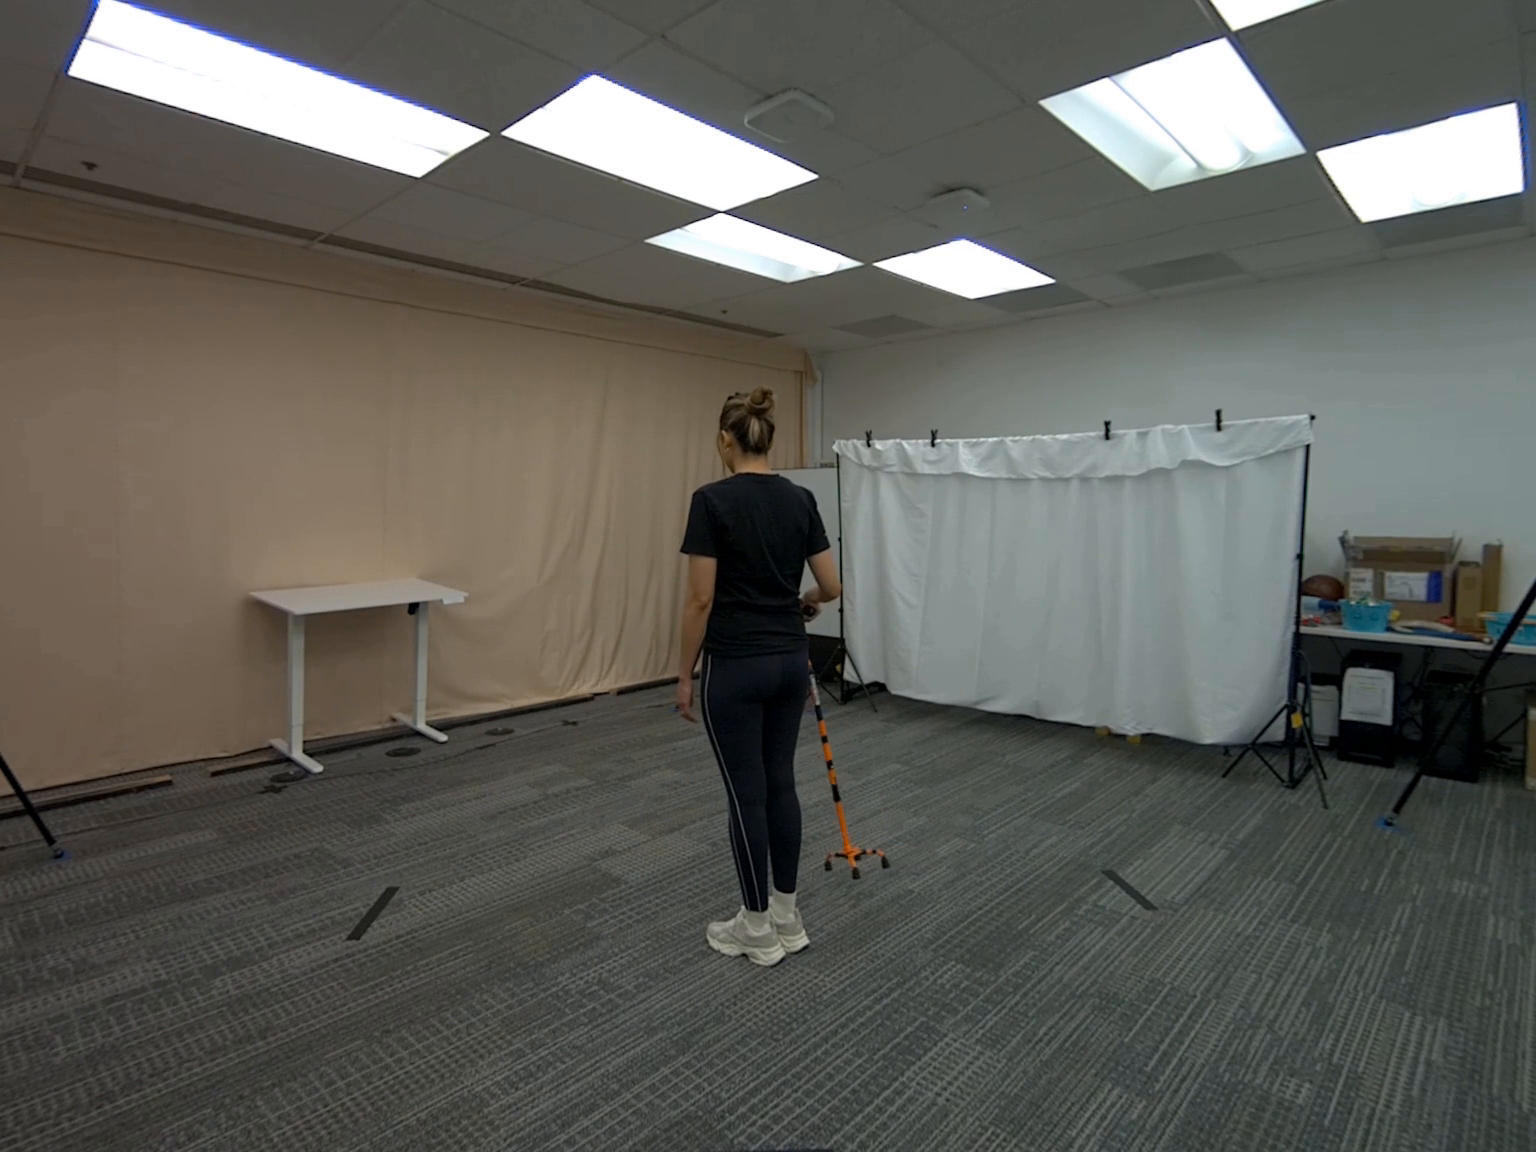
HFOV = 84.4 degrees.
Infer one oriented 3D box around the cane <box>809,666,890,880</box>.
[{"bbox_3d":[0.212,0.571,2.950,0.148,0.913,0.210,-8,-7,-26],"label":"cane"}]
